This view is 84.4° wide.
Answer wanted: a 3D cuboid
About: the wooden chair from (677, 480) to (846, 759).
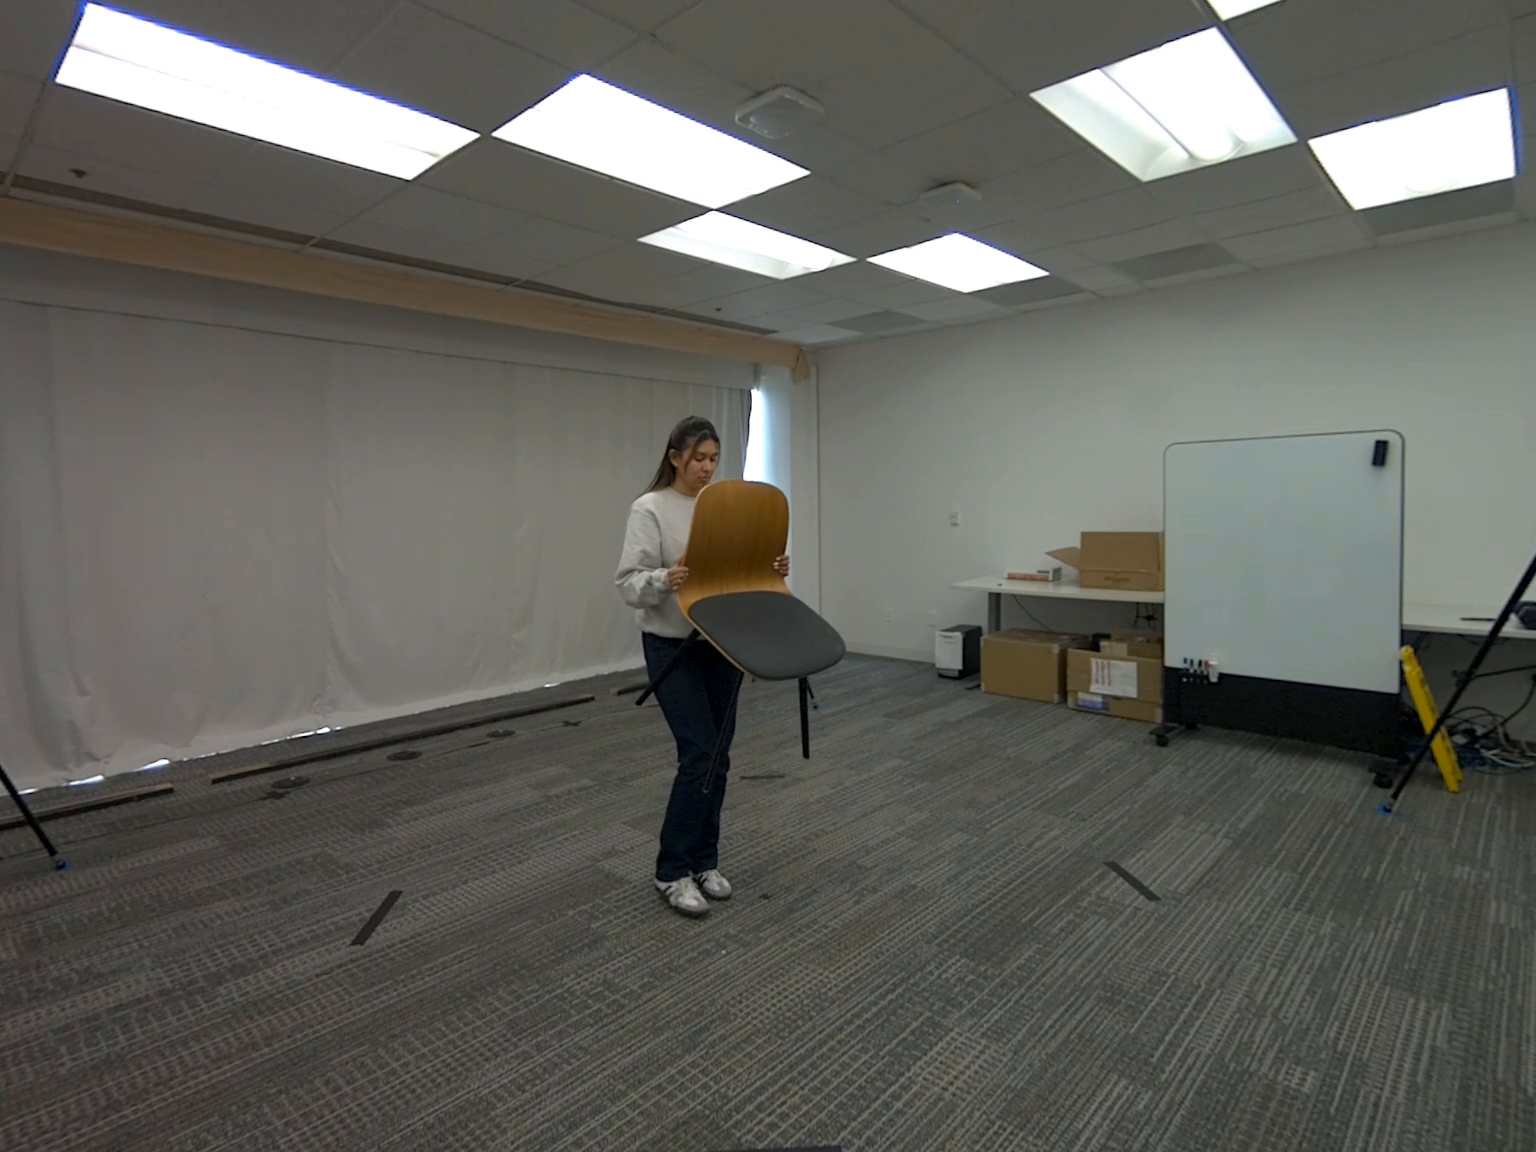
[{"bbox_3d":[-0.030,0.189,2.754,0.464,0.871,0.543,-5,28,-39],"label":"wooden chair"}]
